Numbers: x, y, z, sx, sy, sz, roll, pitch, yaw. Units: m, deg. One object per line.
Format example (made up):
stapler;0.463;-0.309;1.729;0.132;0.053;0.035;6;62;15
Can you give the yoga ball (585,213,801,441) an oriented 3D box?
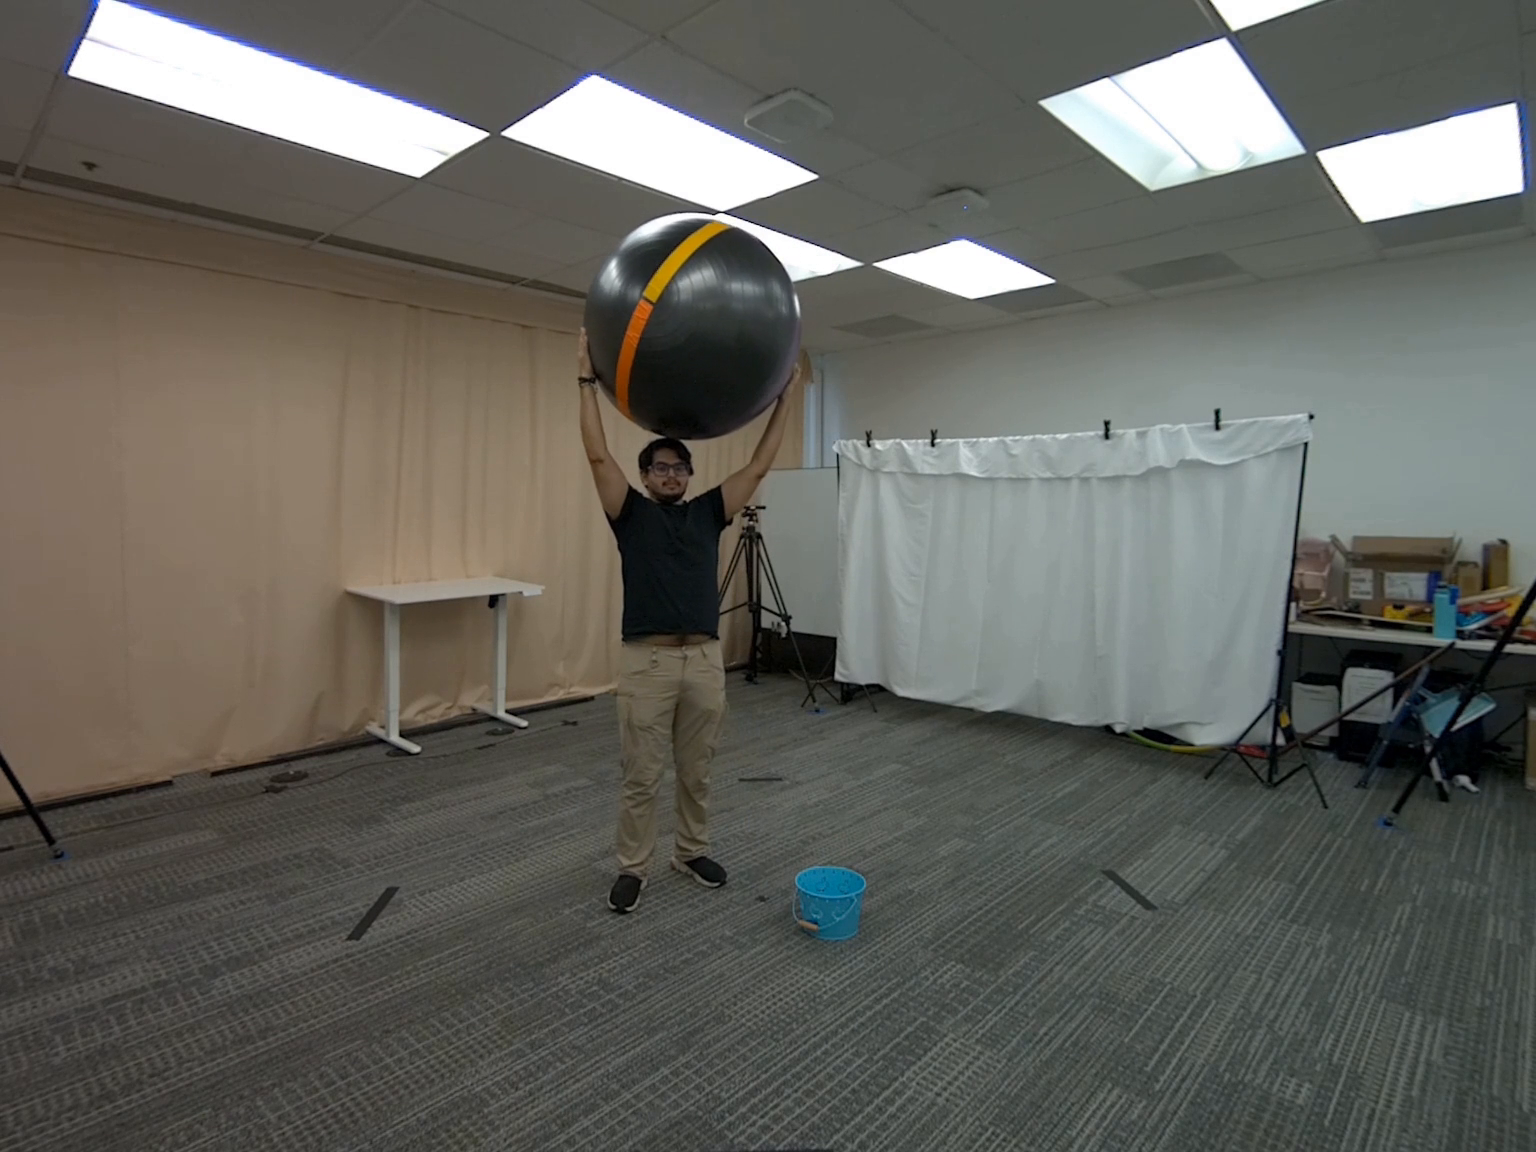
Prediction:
yoga ball;-0.260;-0.851;2.924;0.757;0.756;0.761;0;4;-2
